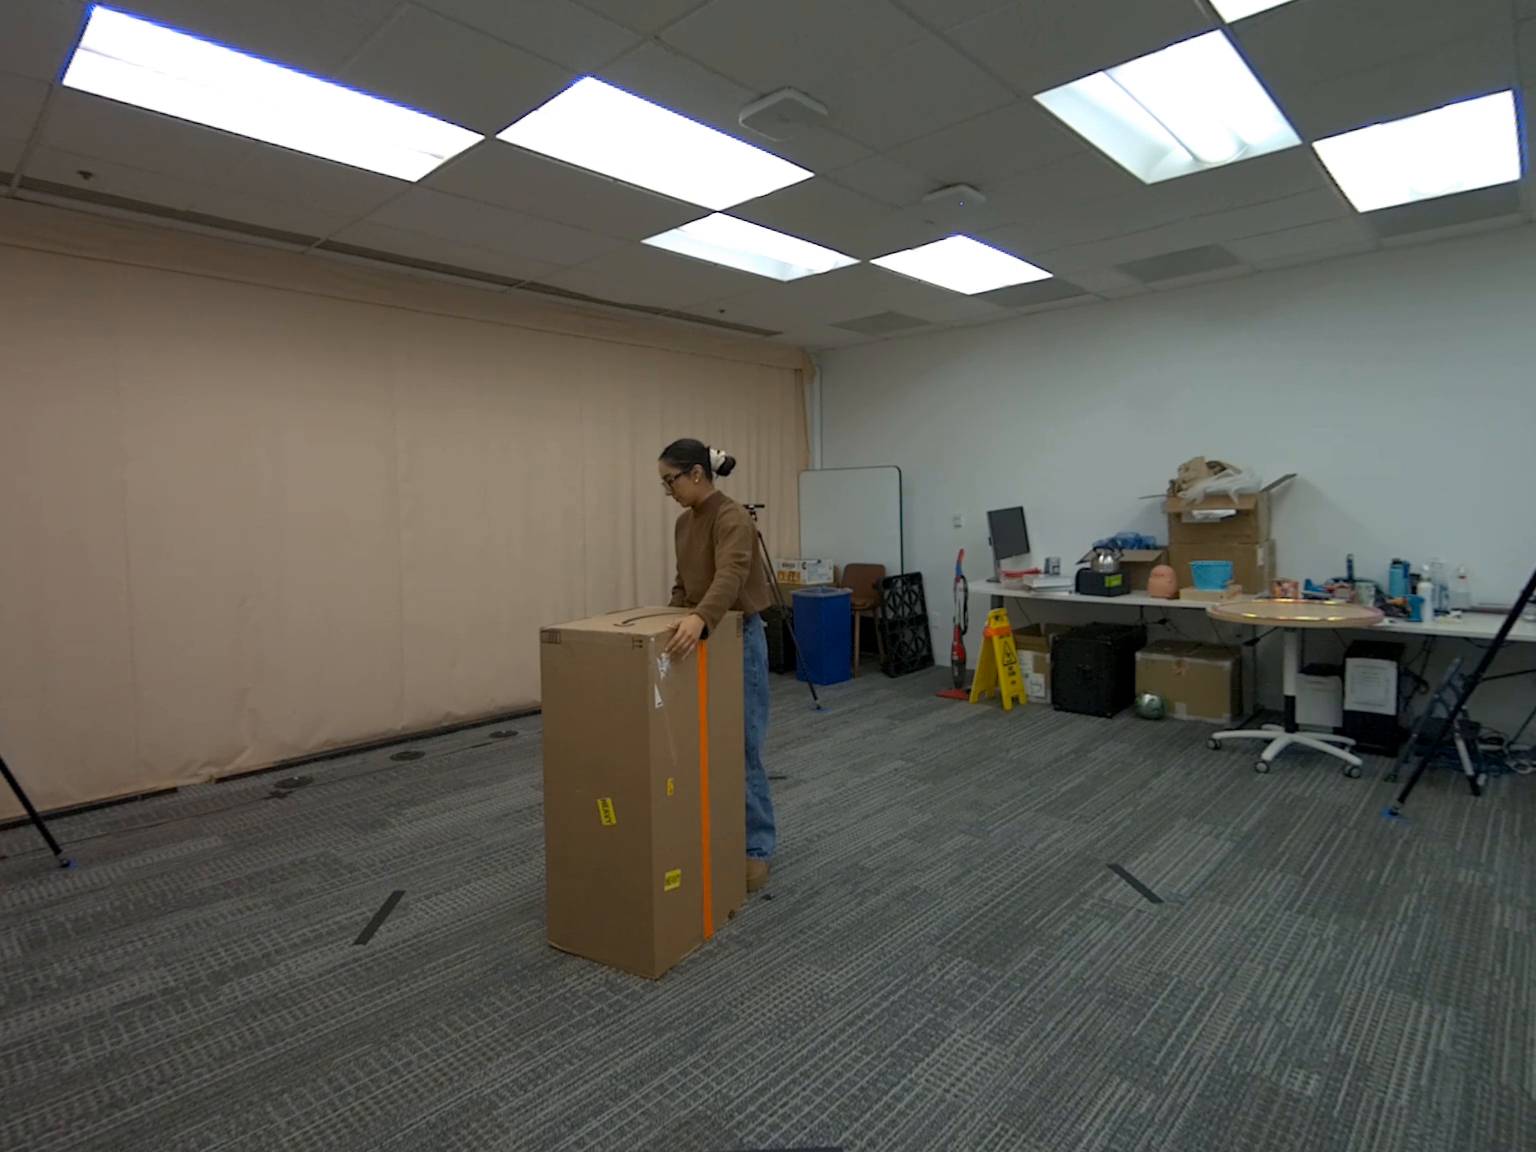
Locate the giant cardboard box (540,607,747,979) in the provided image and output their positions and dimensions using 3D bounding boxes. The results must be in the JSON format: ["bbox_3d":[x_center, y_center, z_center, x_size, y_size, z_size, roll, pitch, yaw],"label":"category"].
[{"bbox_3d":[-0.400,0.657,2.795,0.438,1.024,0.562,1,3,29],"label":"giant cardboard box"}]
